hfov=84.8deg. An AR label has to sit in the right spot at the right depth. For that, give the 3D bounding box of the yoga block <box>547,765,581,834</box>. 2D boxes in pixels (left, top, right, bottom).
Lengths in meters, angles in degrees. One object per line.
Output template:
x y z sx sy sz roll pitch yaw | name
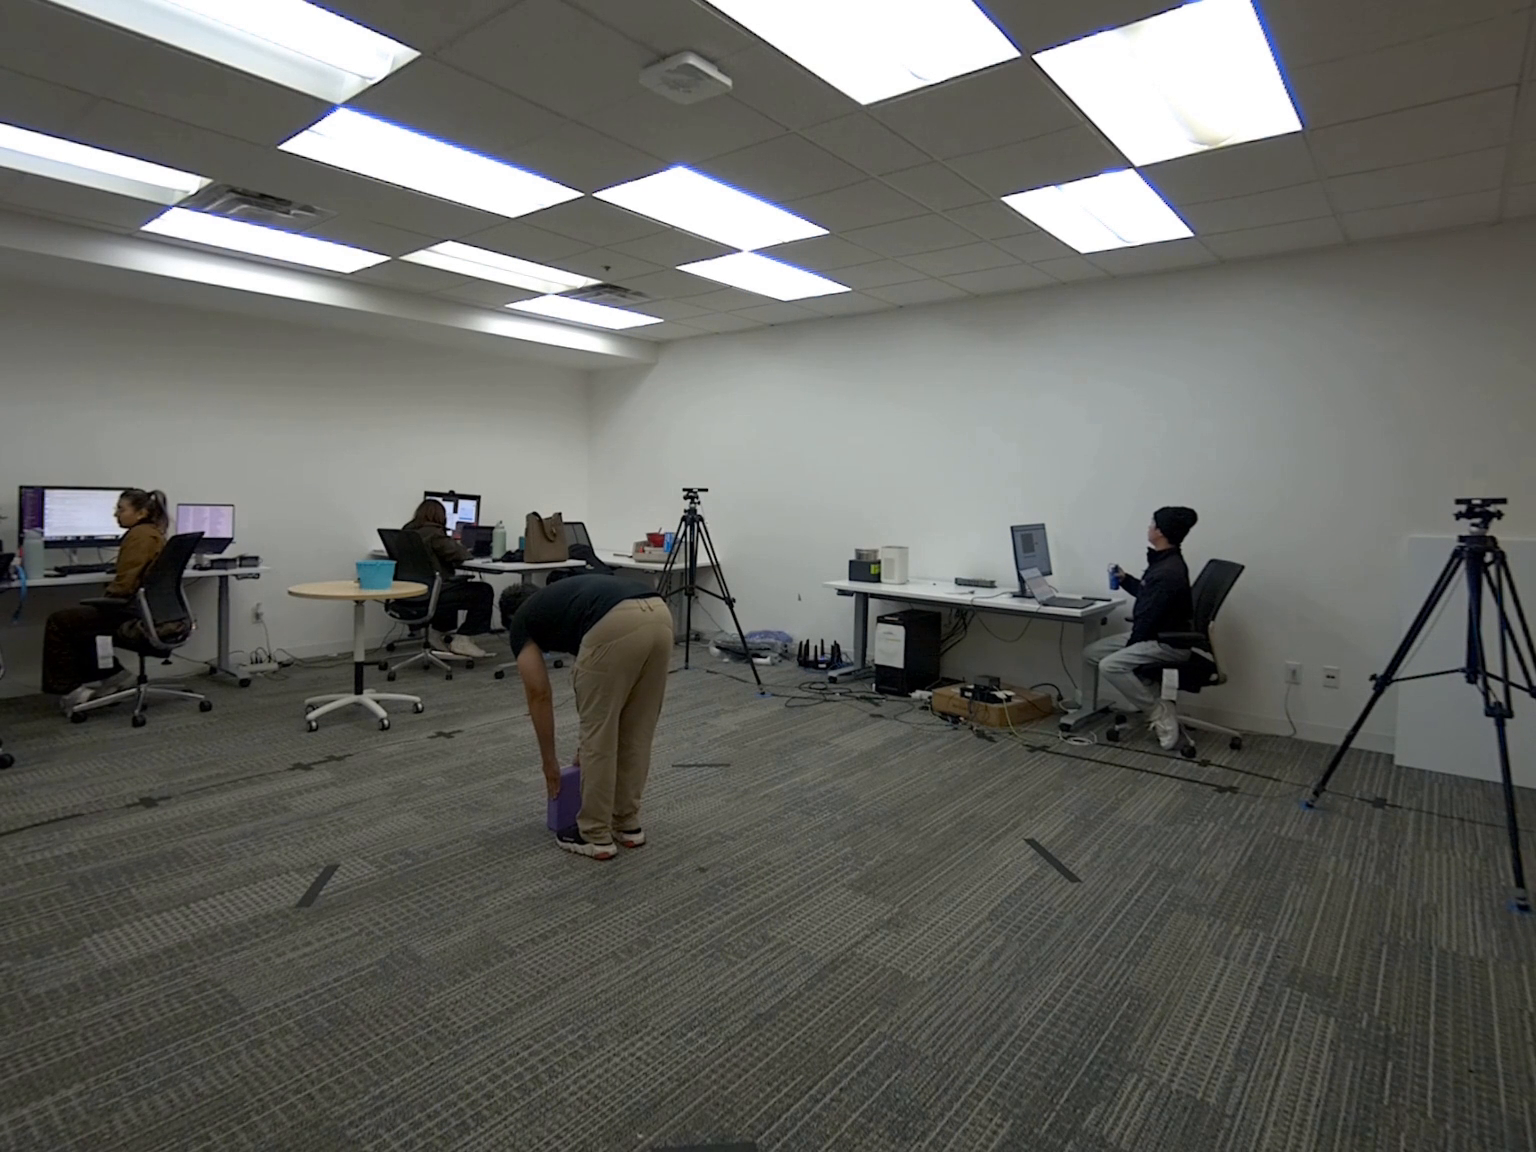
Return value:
-0.843 0.912 3.490 0.079 0.229 0.145 0 3 41 | yoga block
